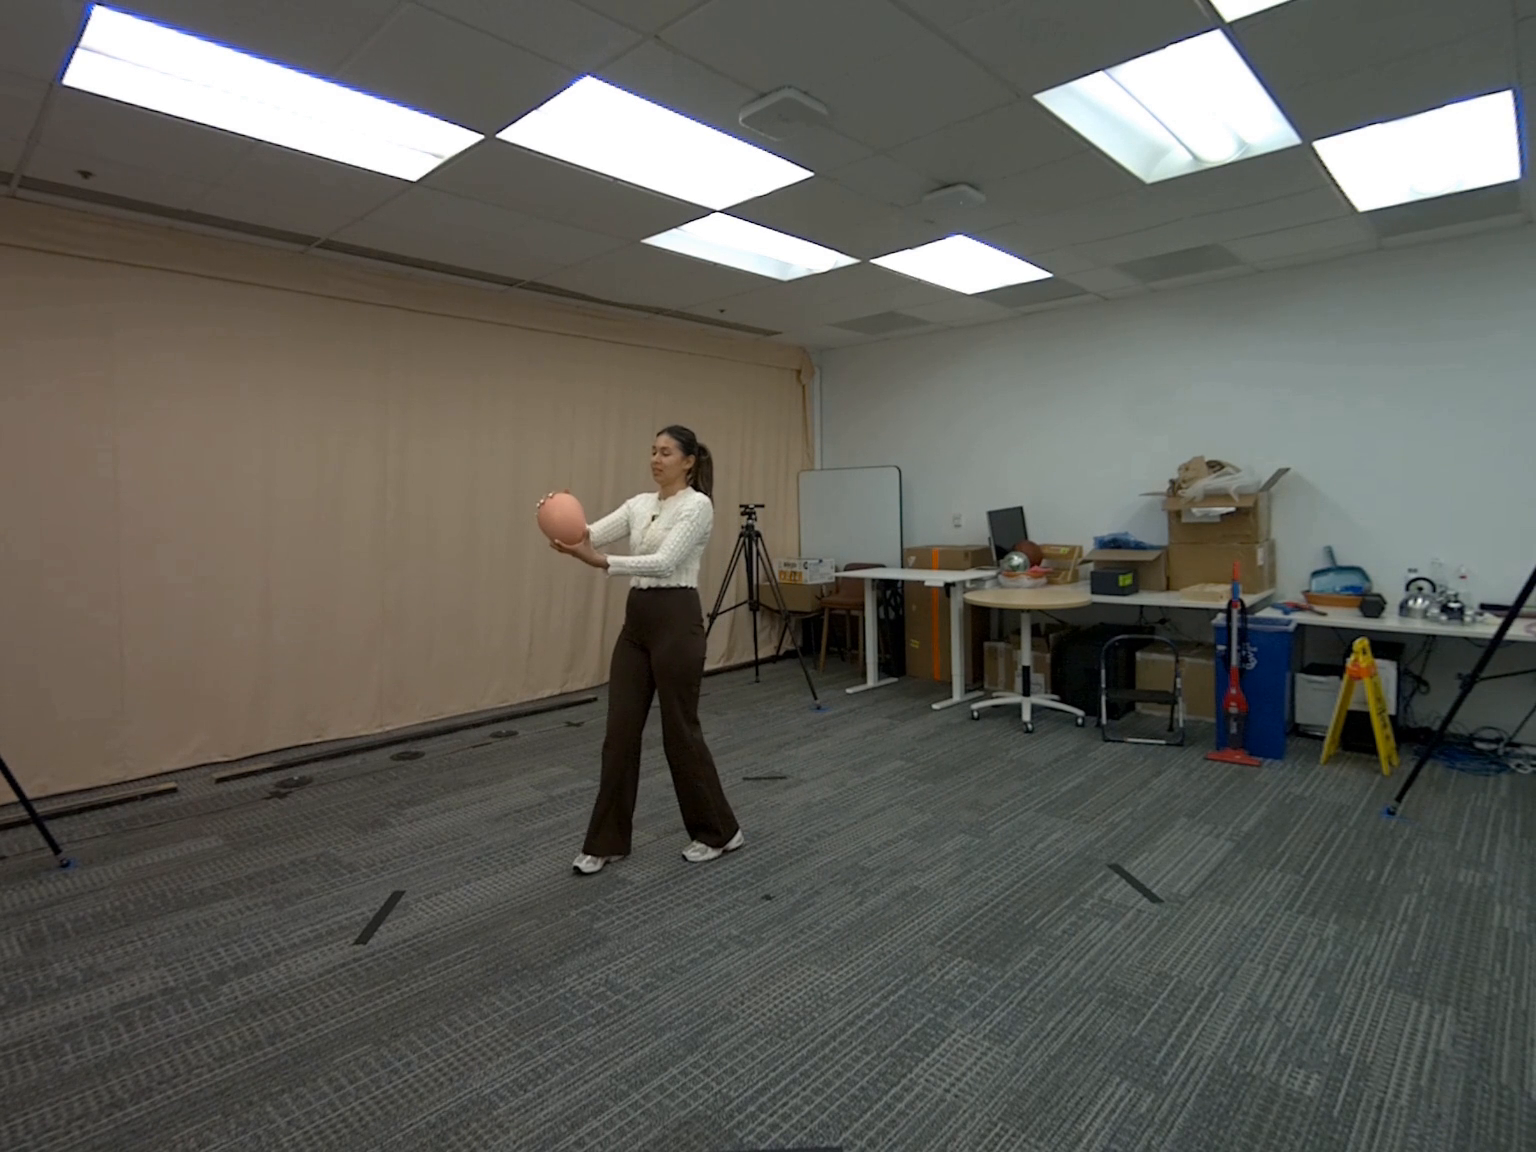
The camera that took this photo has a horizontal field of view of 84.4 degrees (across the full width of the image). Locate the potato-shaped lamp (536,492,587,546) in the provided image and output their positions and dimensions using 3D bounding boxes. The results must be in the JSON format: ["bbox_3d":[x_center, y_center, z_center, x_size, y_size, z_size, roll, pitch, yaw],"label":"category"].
[{"bbox_3d":[-0.718,-0.187,2.972,0.163,0.204,0.168,-25,-31,-16],"label":"potato-shaped lamp"}]
